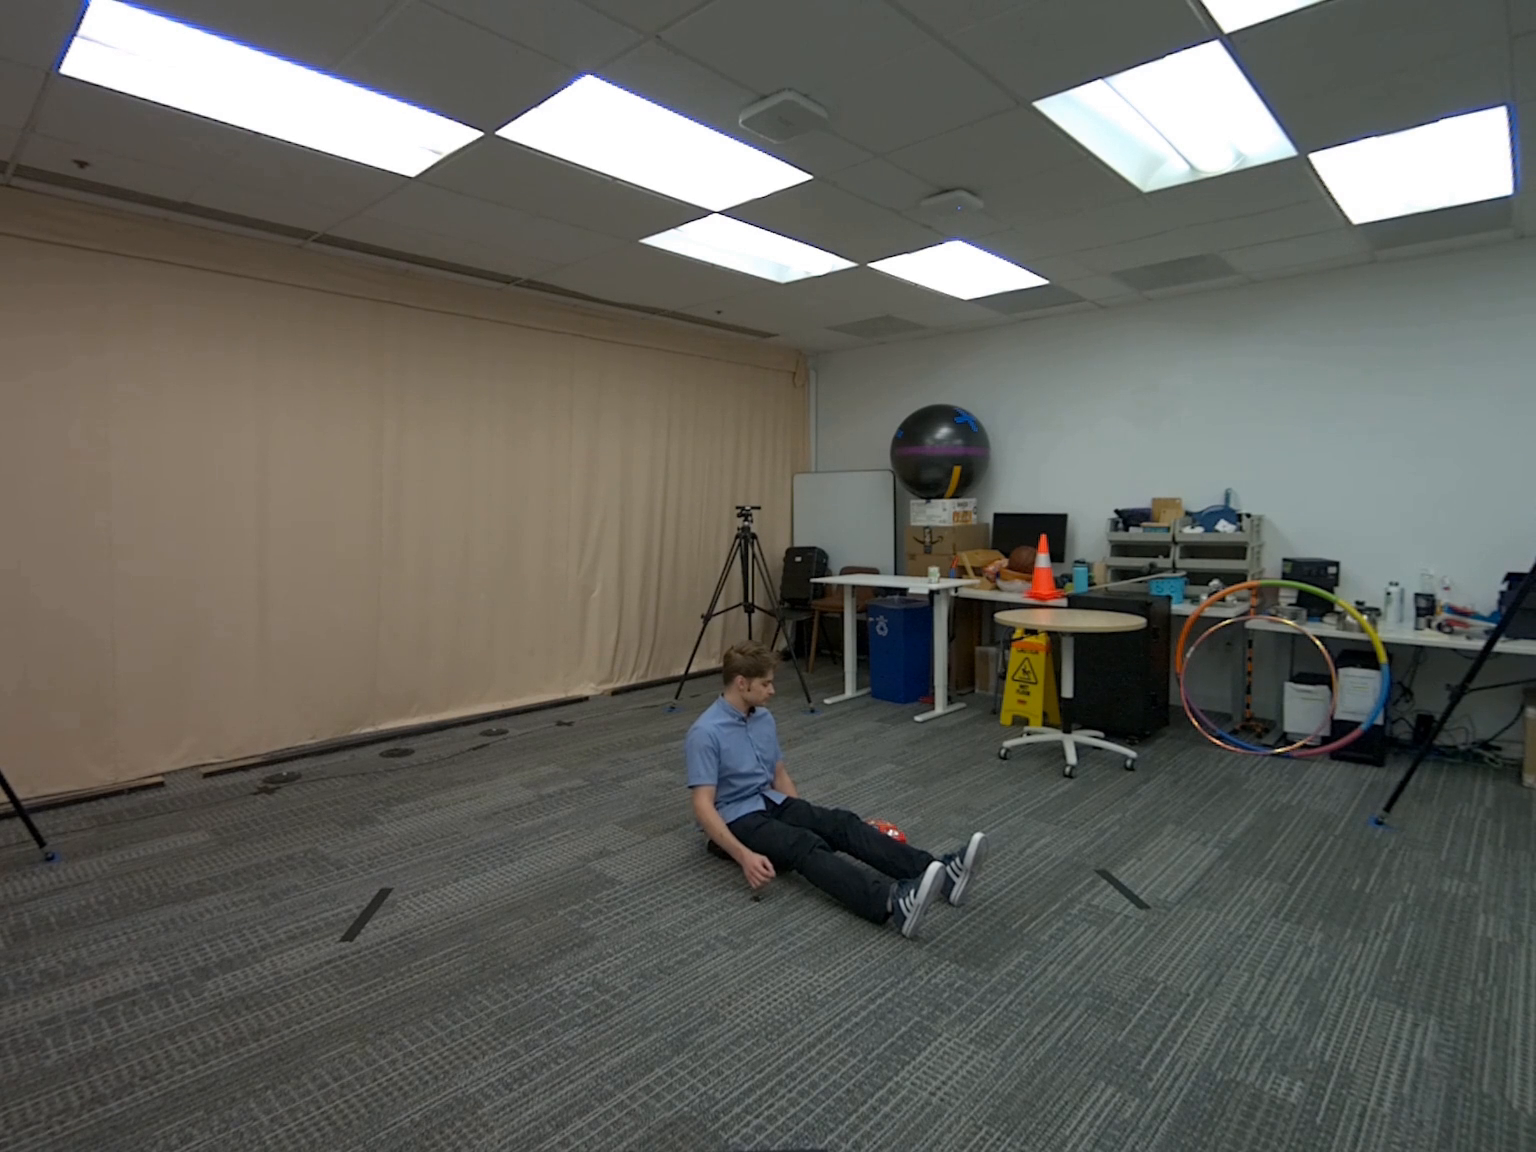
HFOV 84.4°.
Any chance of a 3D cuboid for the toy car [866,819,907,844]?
[{"bbox_3d":[0.491,1.074,3.496,0.128,0.083,0.258,1,-6,-19],"label":"toy car"}]
